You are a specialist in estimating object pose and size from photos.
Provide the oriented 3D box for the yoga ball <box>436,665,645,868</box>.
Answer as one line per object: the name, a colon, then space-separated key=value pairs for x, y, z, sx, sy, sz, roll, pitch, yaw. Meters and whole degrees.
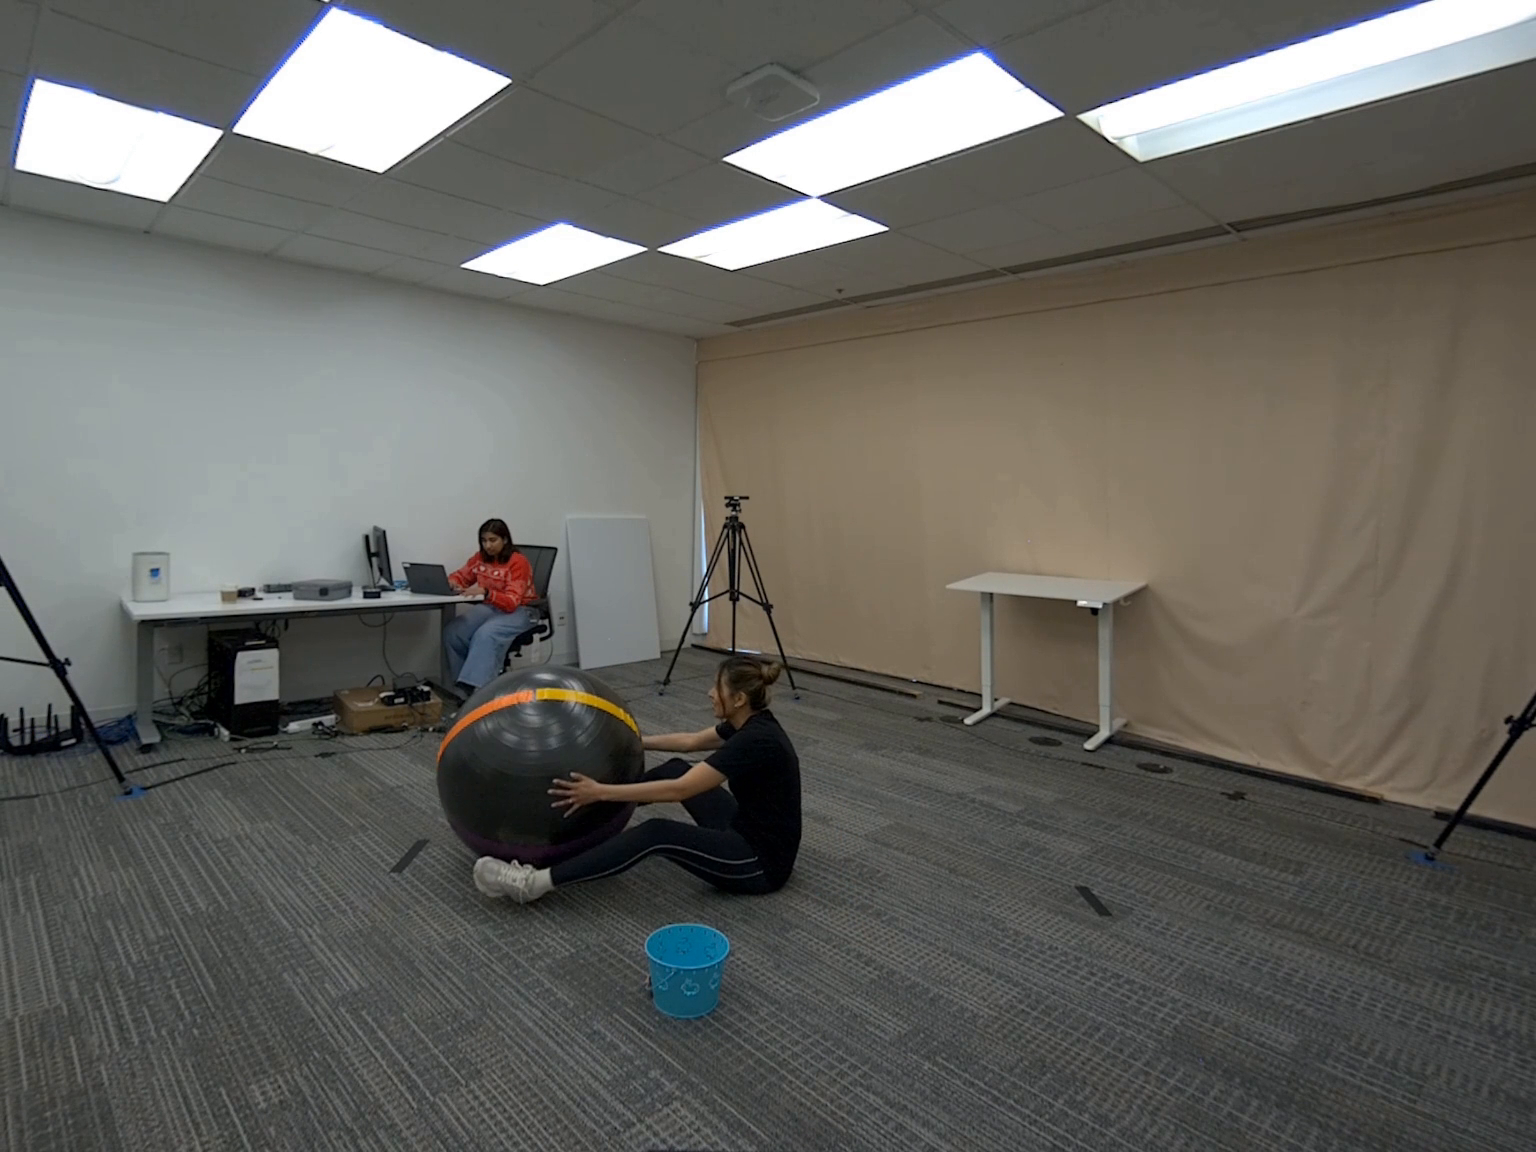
yoga ball: x=-0.853 y=0.710 z=3.143 sx=0.757 sy=0.756 sz=0.761 roll=1 pitch=4 yaw=-1
